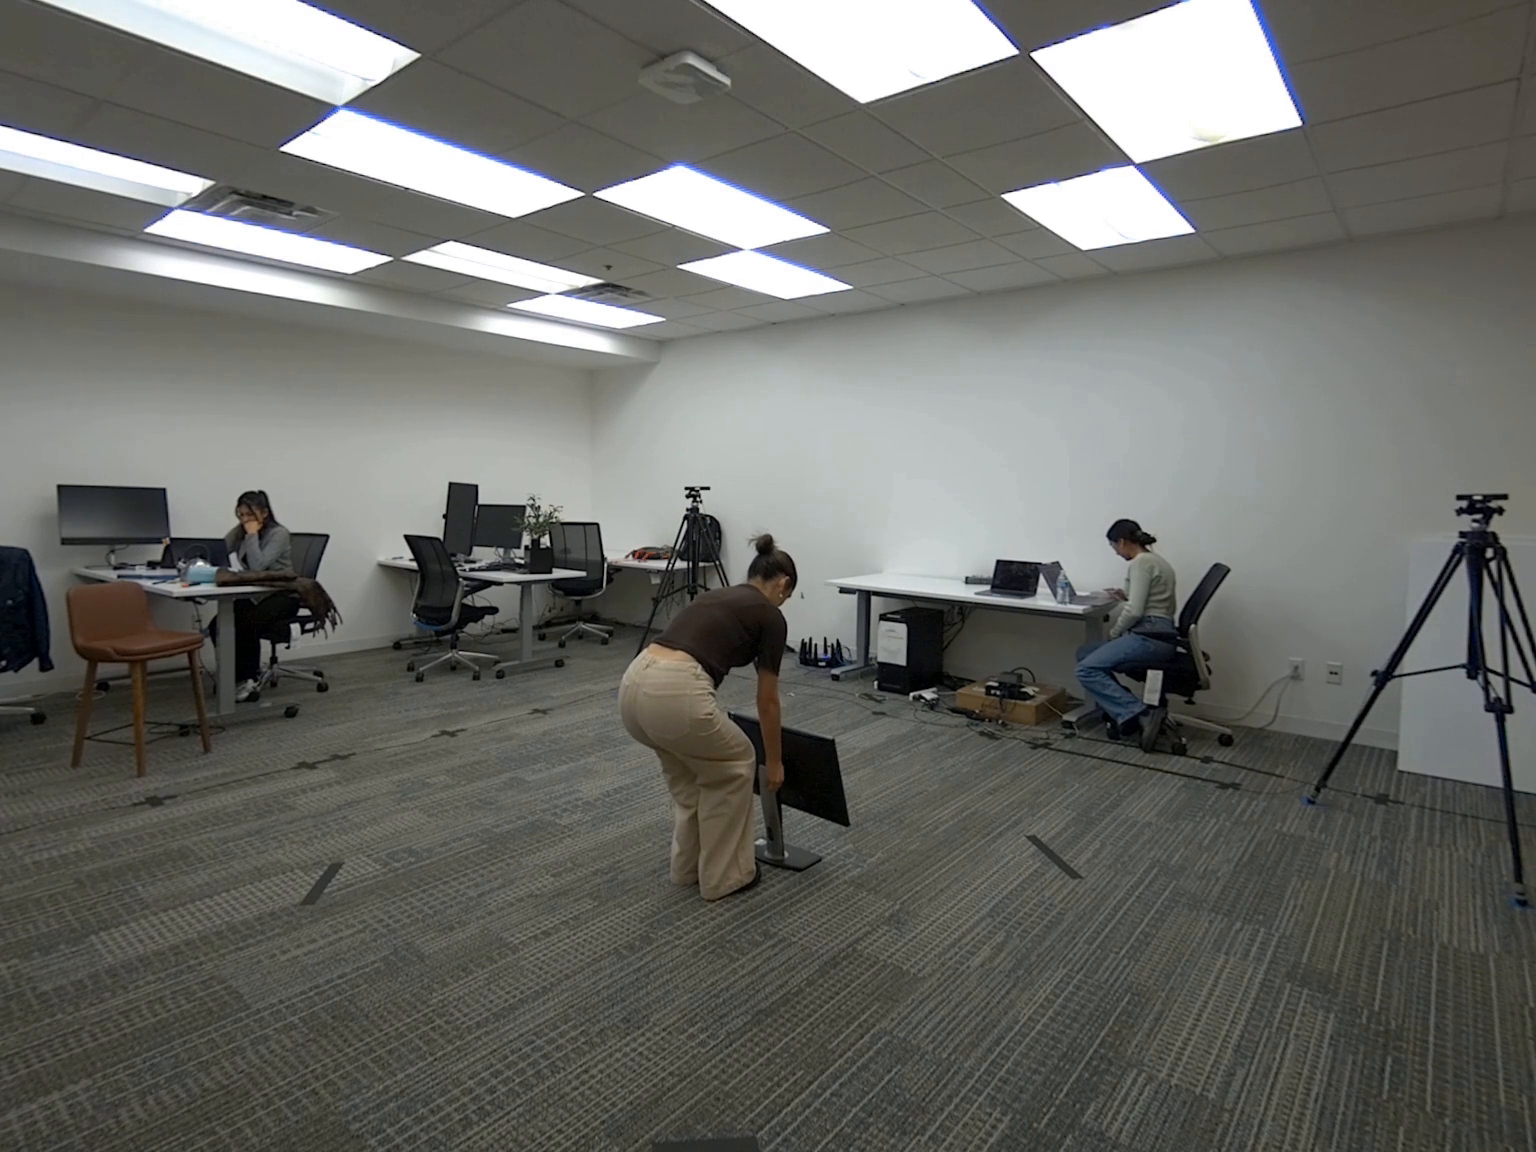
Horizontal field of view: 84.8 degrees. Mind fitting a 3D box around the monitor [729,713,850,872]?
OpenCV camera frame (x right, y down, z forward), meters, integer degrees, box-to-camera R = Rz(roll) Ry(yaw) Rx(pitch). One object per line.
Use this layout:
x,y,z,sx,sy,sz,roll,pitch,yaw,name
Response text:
0.036,0.808,3.194,0.557,0.520,0.181,4,6,41,monitor
